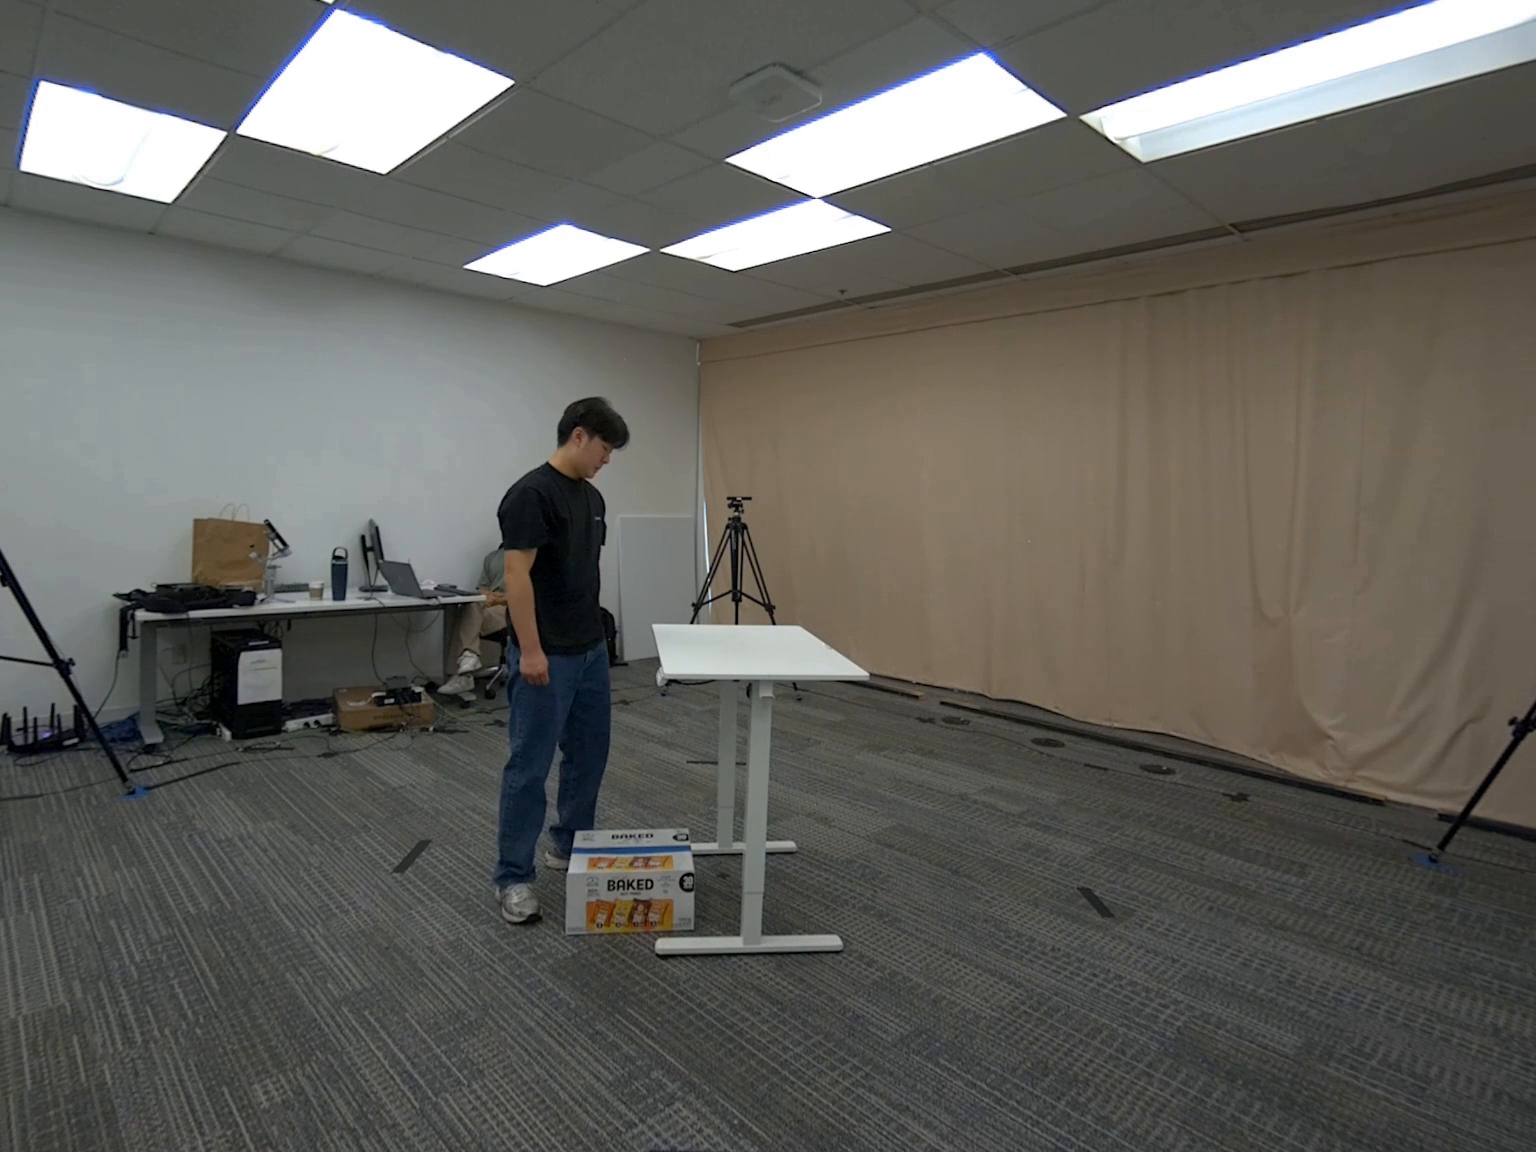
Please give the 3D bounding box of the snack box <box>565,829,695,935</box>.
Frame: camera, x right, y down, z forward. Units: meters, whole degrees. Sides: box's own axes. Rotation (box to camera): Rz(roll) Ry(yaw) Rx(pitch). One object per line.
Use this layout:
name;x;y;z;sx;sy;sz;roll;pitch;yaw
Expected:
snack box;-0.466;1.026;2.833;0.403;0.205;0.343;1;5;-8
